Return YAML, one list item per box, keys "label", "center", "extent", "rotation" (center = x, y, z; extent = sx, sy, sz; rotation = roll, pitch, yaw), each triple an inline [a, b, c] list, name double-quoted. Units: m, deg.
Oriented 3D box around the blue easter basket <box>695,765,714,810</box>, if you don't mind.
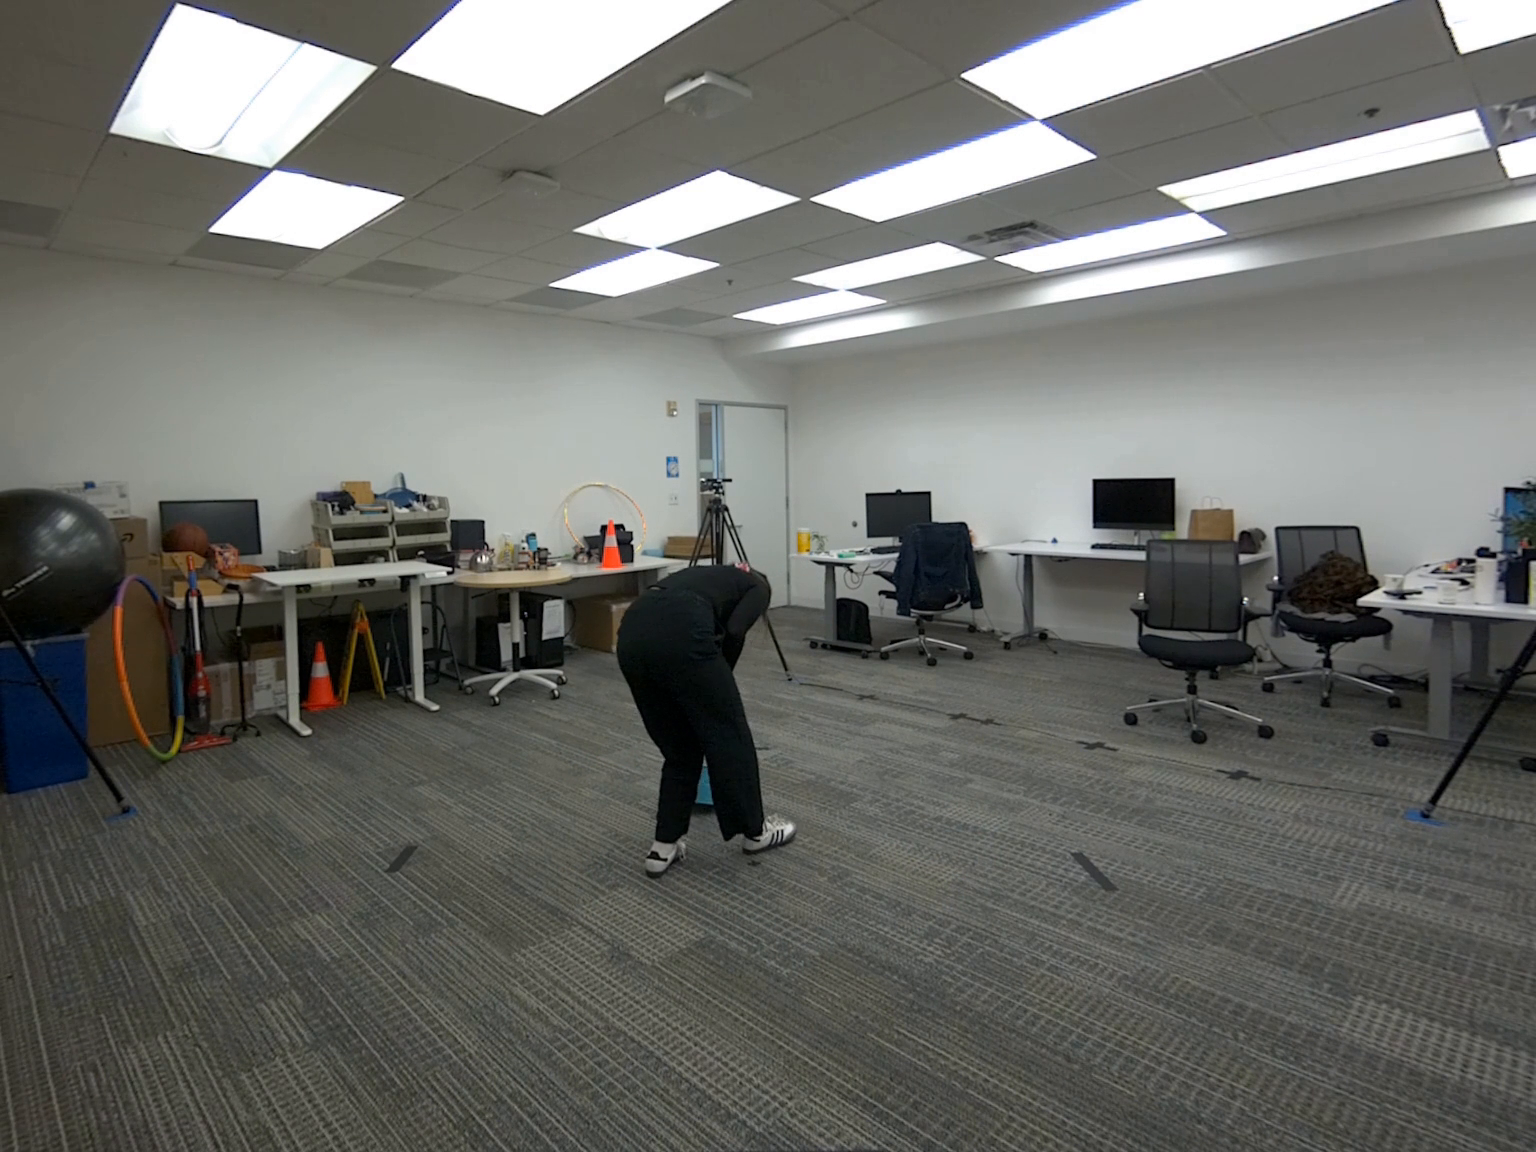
- label: "blue easter basket"
  center: [-0.264, 0.889, 3.654]
  extent: [0.244, 0.157, 0.241]
  rotation: [6, -12, 0]
